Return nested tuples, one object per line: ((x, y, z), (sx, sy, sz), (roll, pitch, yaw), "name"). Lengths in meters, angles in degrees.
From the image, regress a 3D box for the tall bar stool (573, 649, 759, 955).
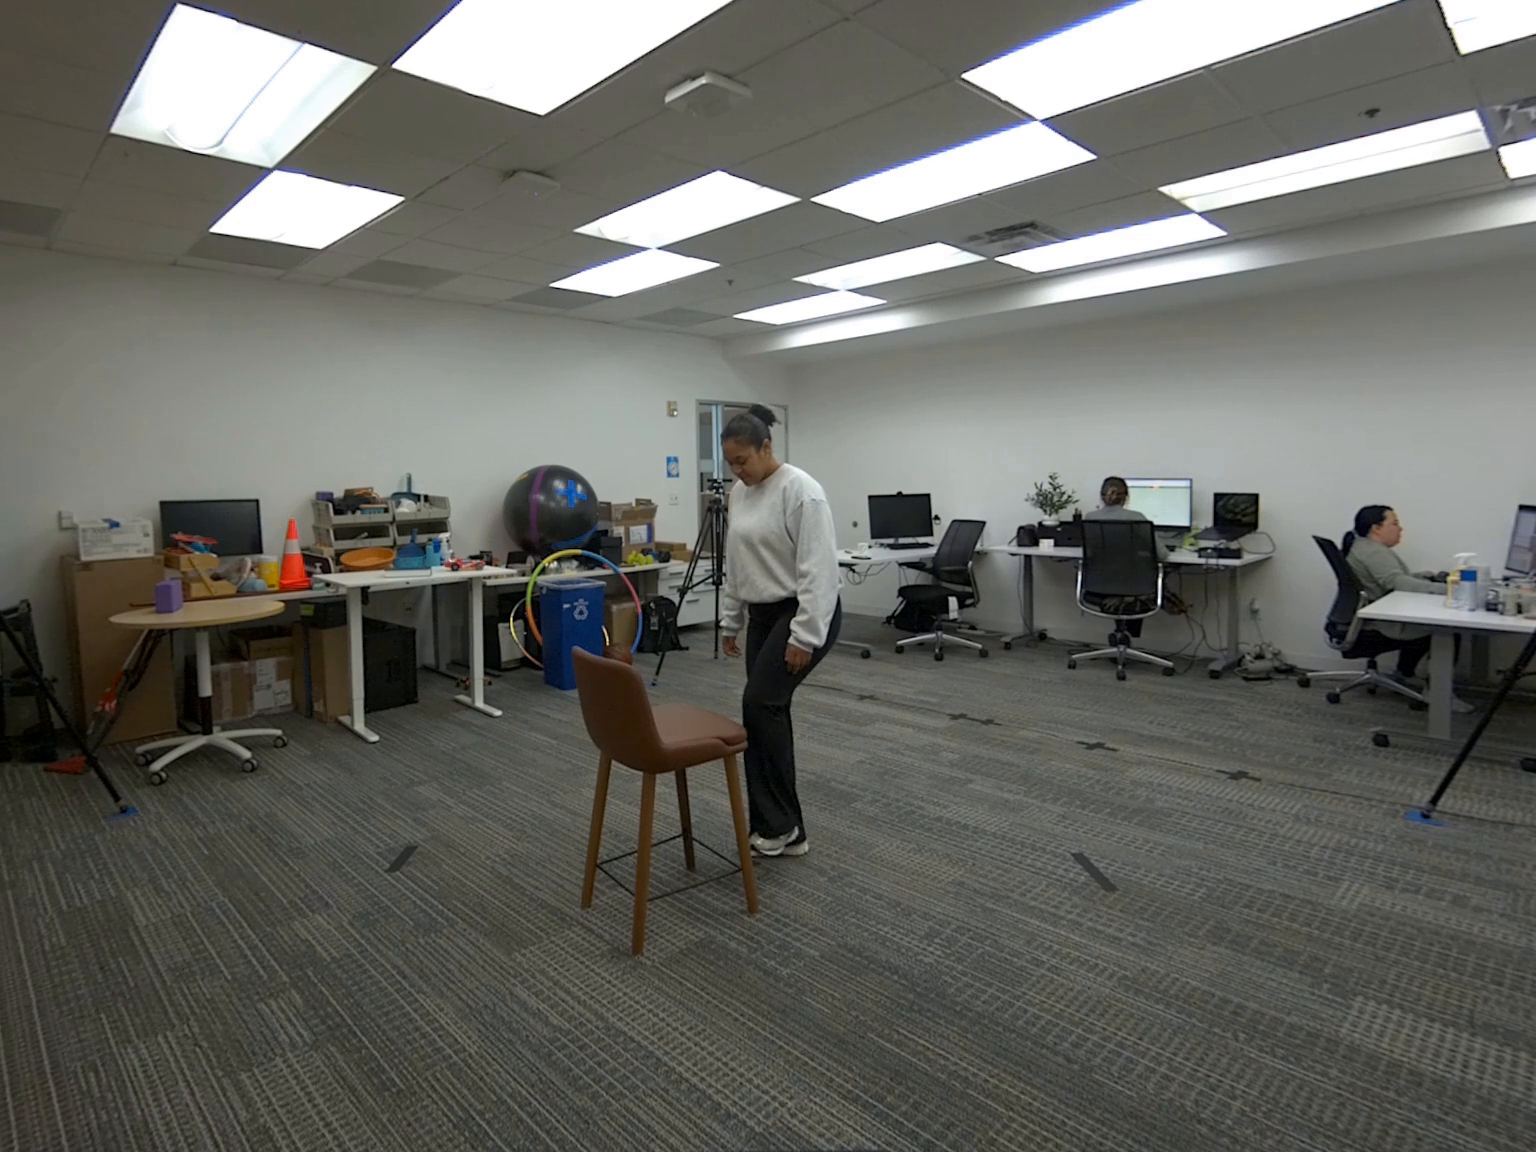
((-0.342, 0.656, 2.760), (0.456, 0.885, 0.470), (-7, 7, -36), "tall bar stool")
